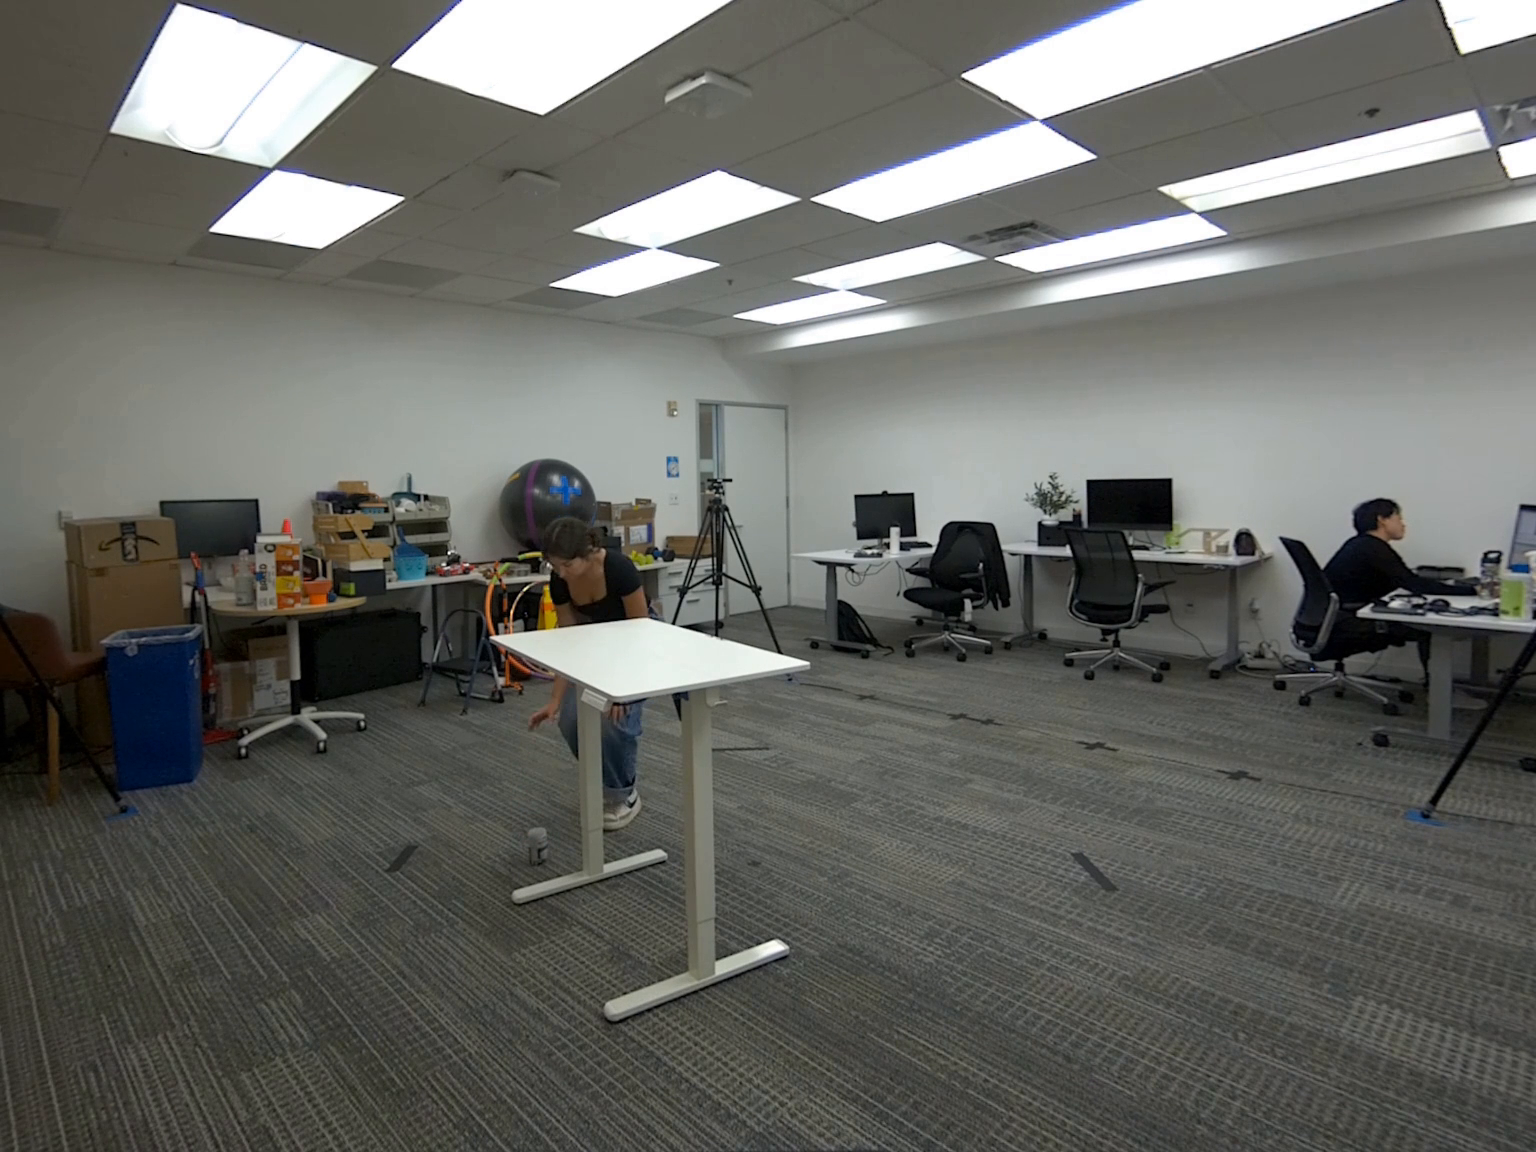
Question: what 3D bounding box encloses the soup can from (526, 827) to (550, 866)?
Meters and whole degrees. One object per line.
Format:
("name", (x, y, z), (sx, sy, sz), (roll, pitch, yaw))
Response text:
("soup can", (-0.846, 0.999, 3.146), (0.067, 0.121, 0.067), (-5, 5, -1))
